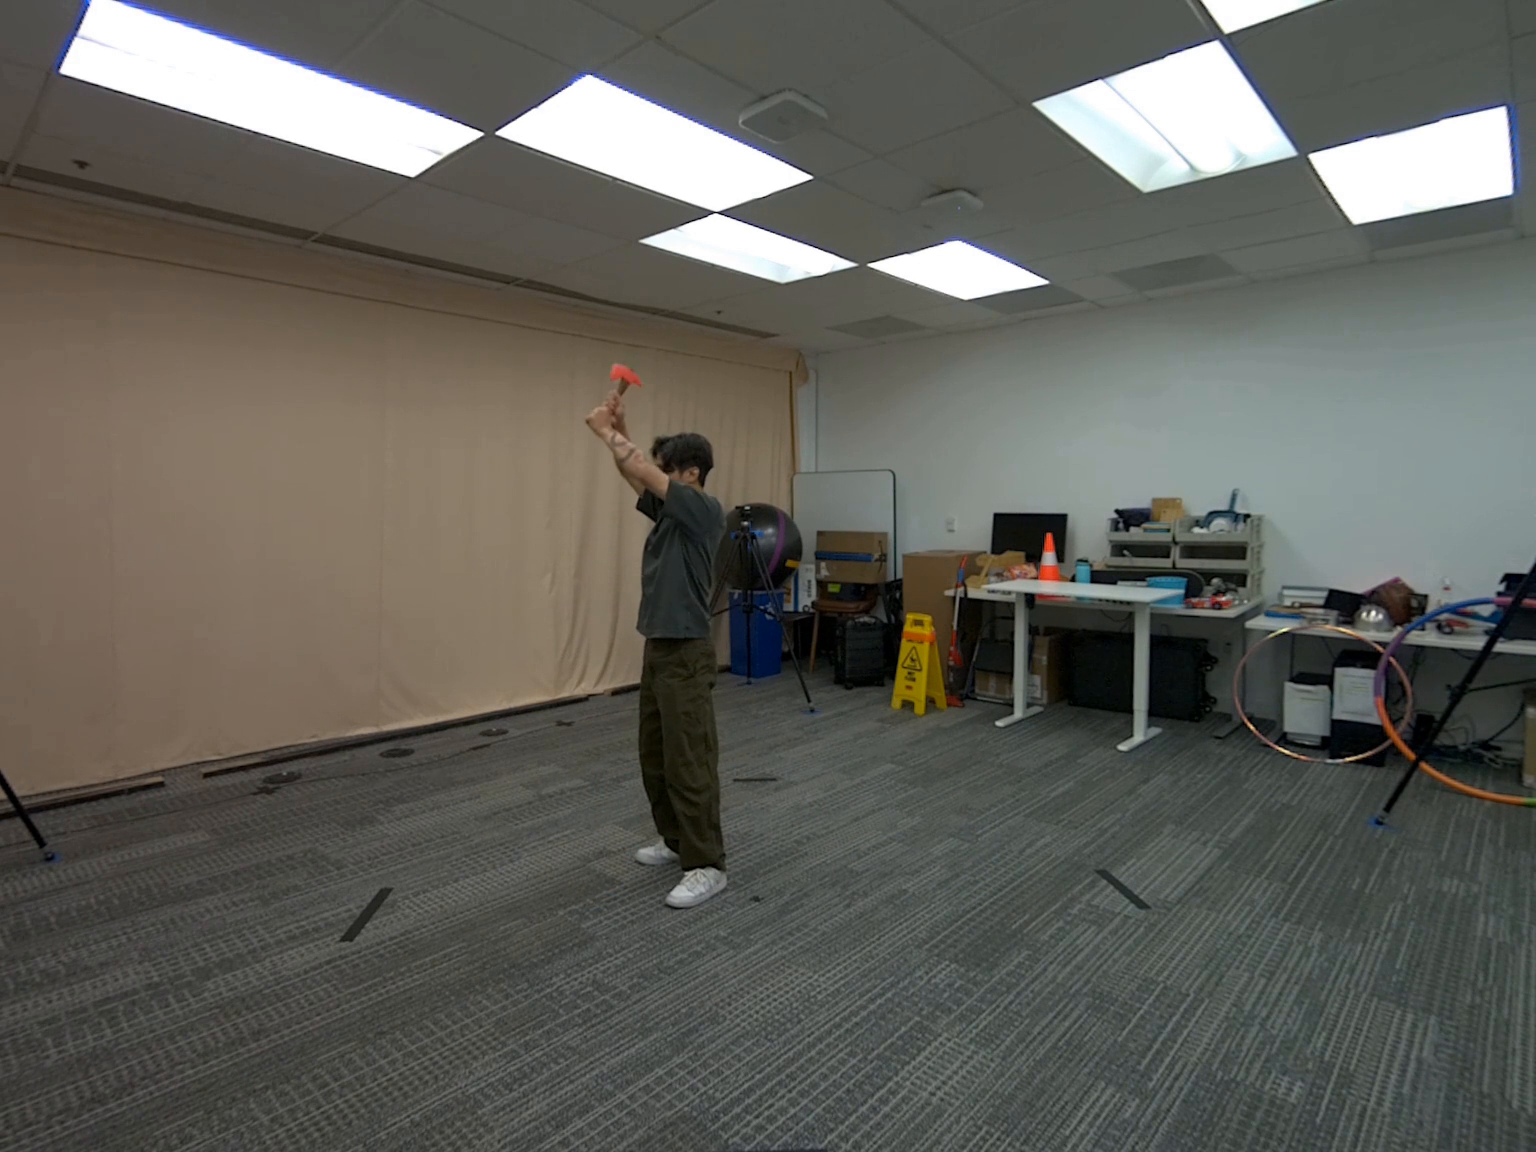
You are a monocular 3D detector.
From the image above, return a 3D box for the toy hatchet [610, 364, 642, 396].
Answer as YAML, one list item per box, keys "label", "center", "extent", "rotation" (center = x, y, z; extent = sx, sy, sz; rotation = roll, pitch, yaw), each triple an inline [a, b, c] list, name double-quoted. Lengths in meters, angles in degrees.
- label: "toy hatchet"
  center: [-0.580, -0.648, 3.047]
  extent: [0.269, 0.127, 0.030]
  rotation: [-46, 32, -18]
